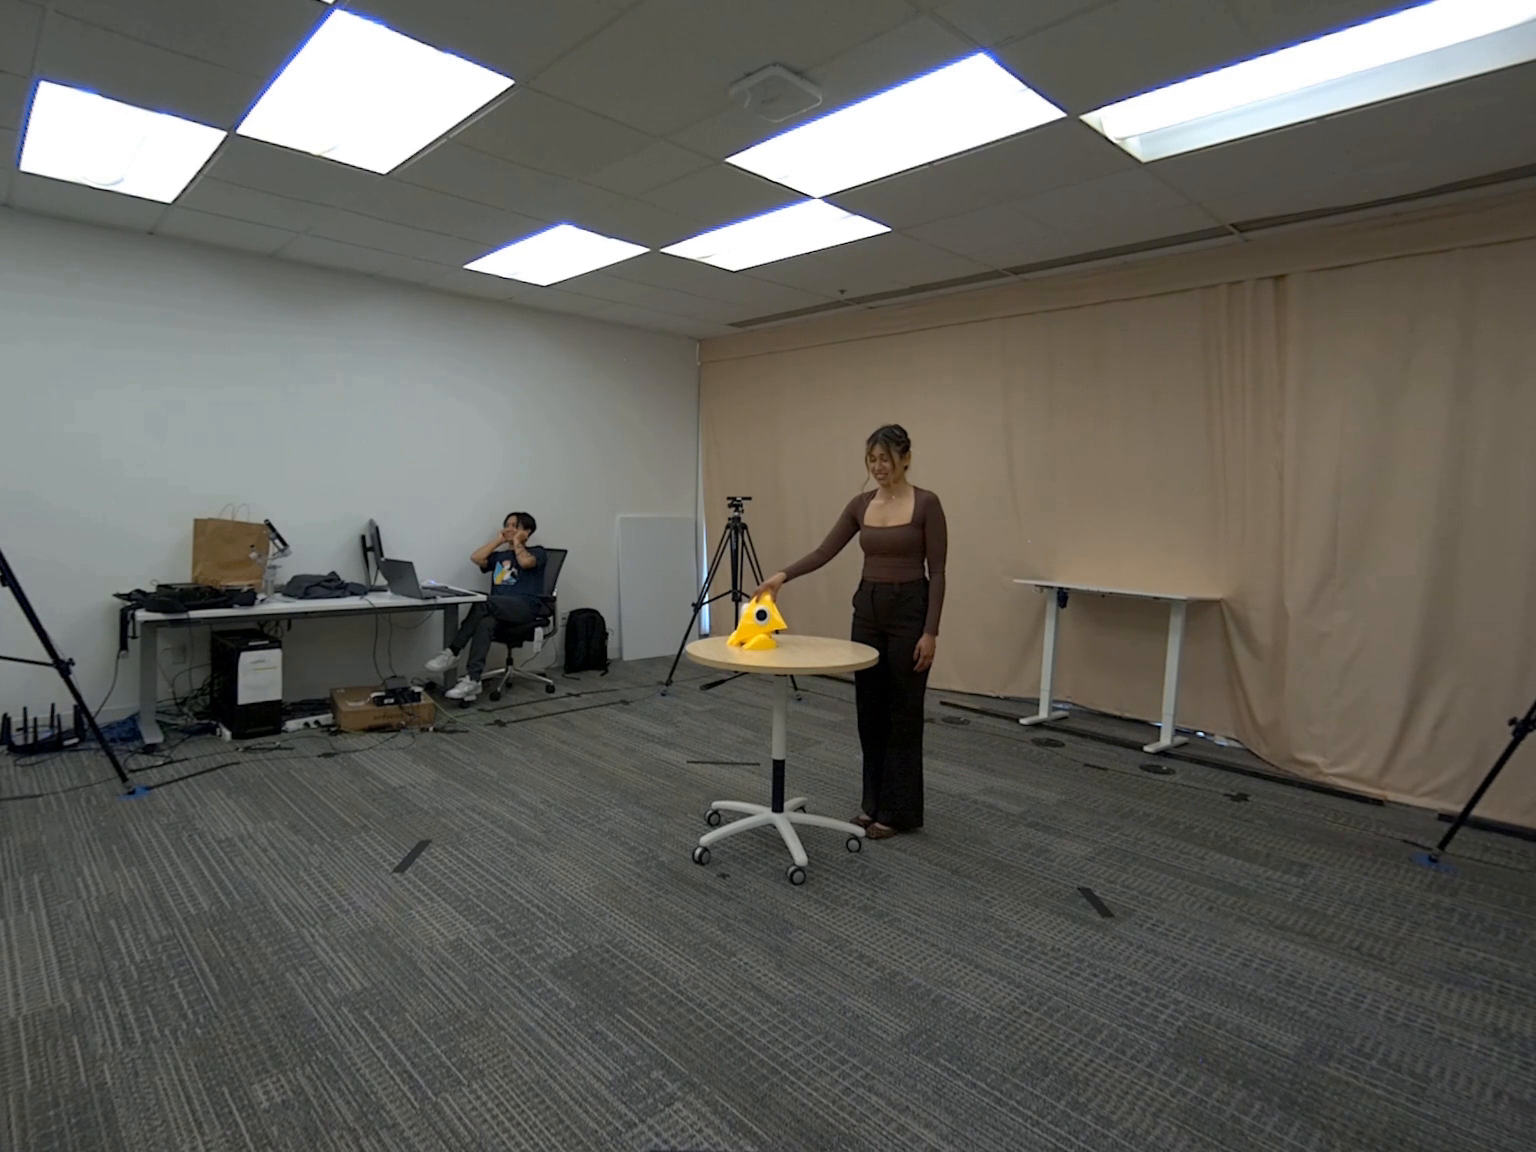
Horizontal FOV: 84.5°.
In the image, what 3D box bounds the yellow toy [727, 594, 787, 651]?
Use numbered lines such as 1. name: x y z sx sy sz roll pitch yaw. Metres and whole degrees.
1. yellow toy: -0.062 0.169 3.430 0.189 0.230 0.210 -2 3 -36
